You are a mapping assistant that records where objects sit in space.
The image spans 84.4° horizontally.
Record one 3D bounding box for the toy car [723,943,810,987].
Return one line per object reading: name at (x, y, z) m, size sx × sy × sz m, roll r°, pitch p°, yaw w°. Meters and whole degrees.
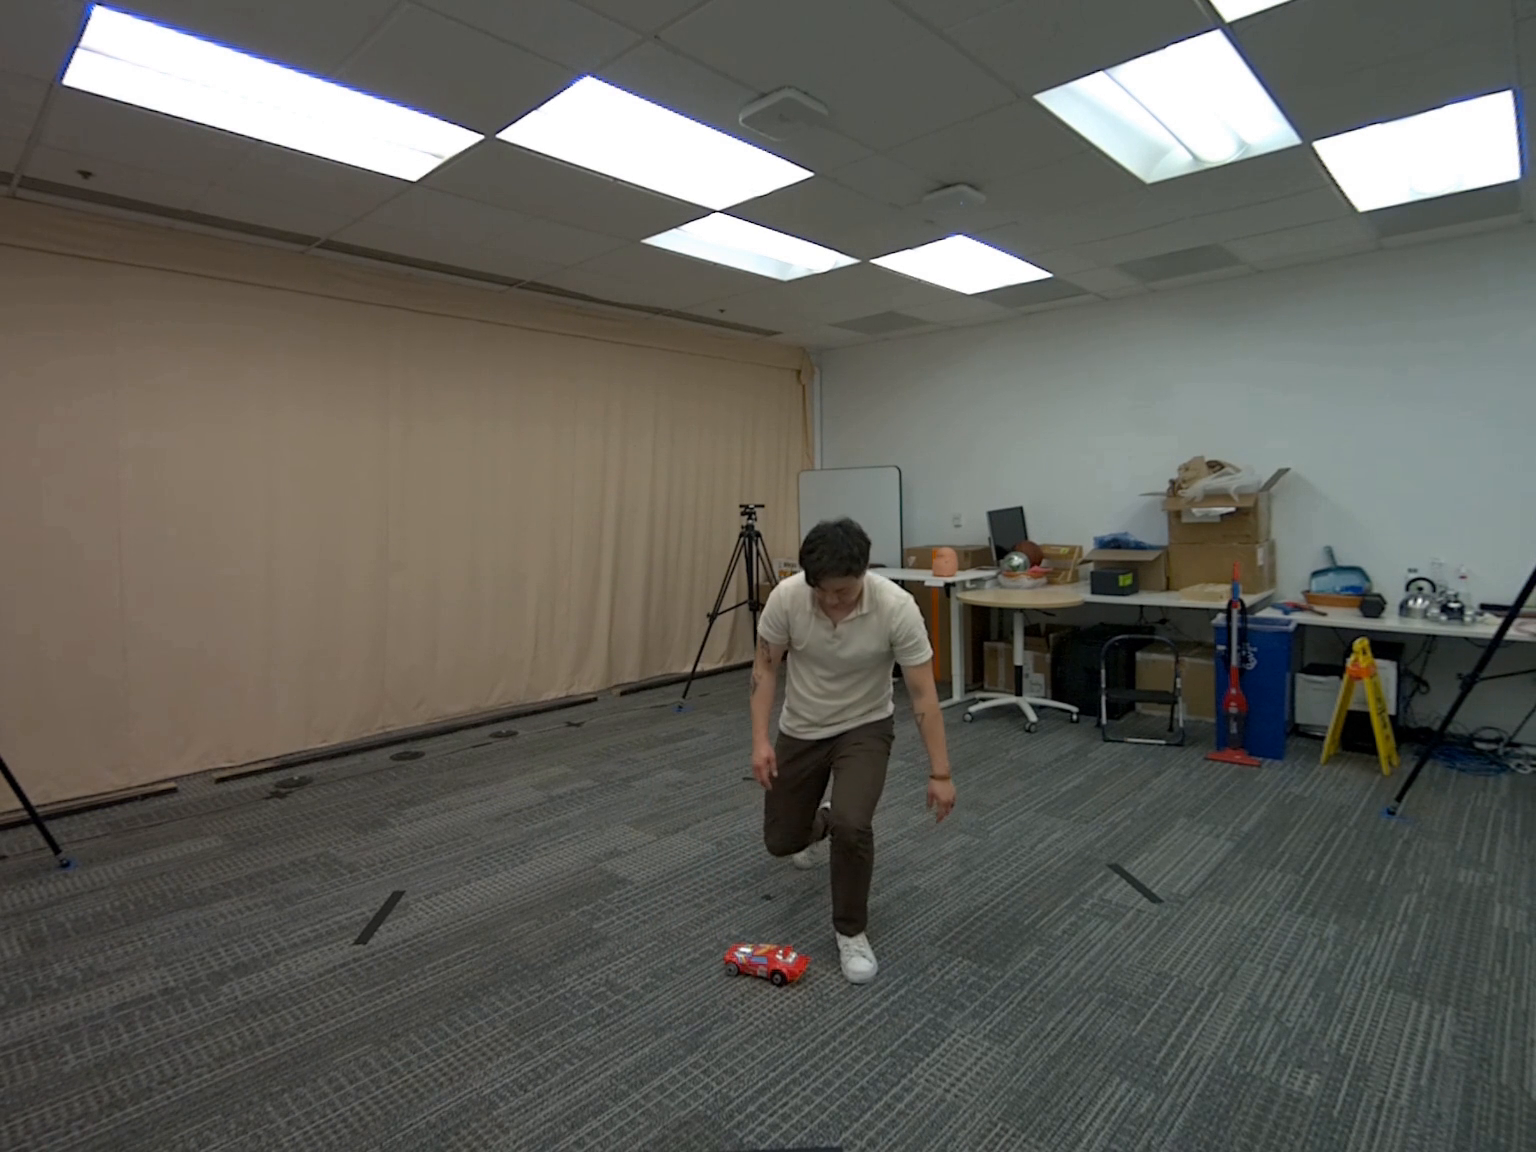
toy car at (0.001, 1.154, 2.496) m, size 0.260 × 0.083 × 0.127 m, roll -11°, pitch 0°, yaw 25°
